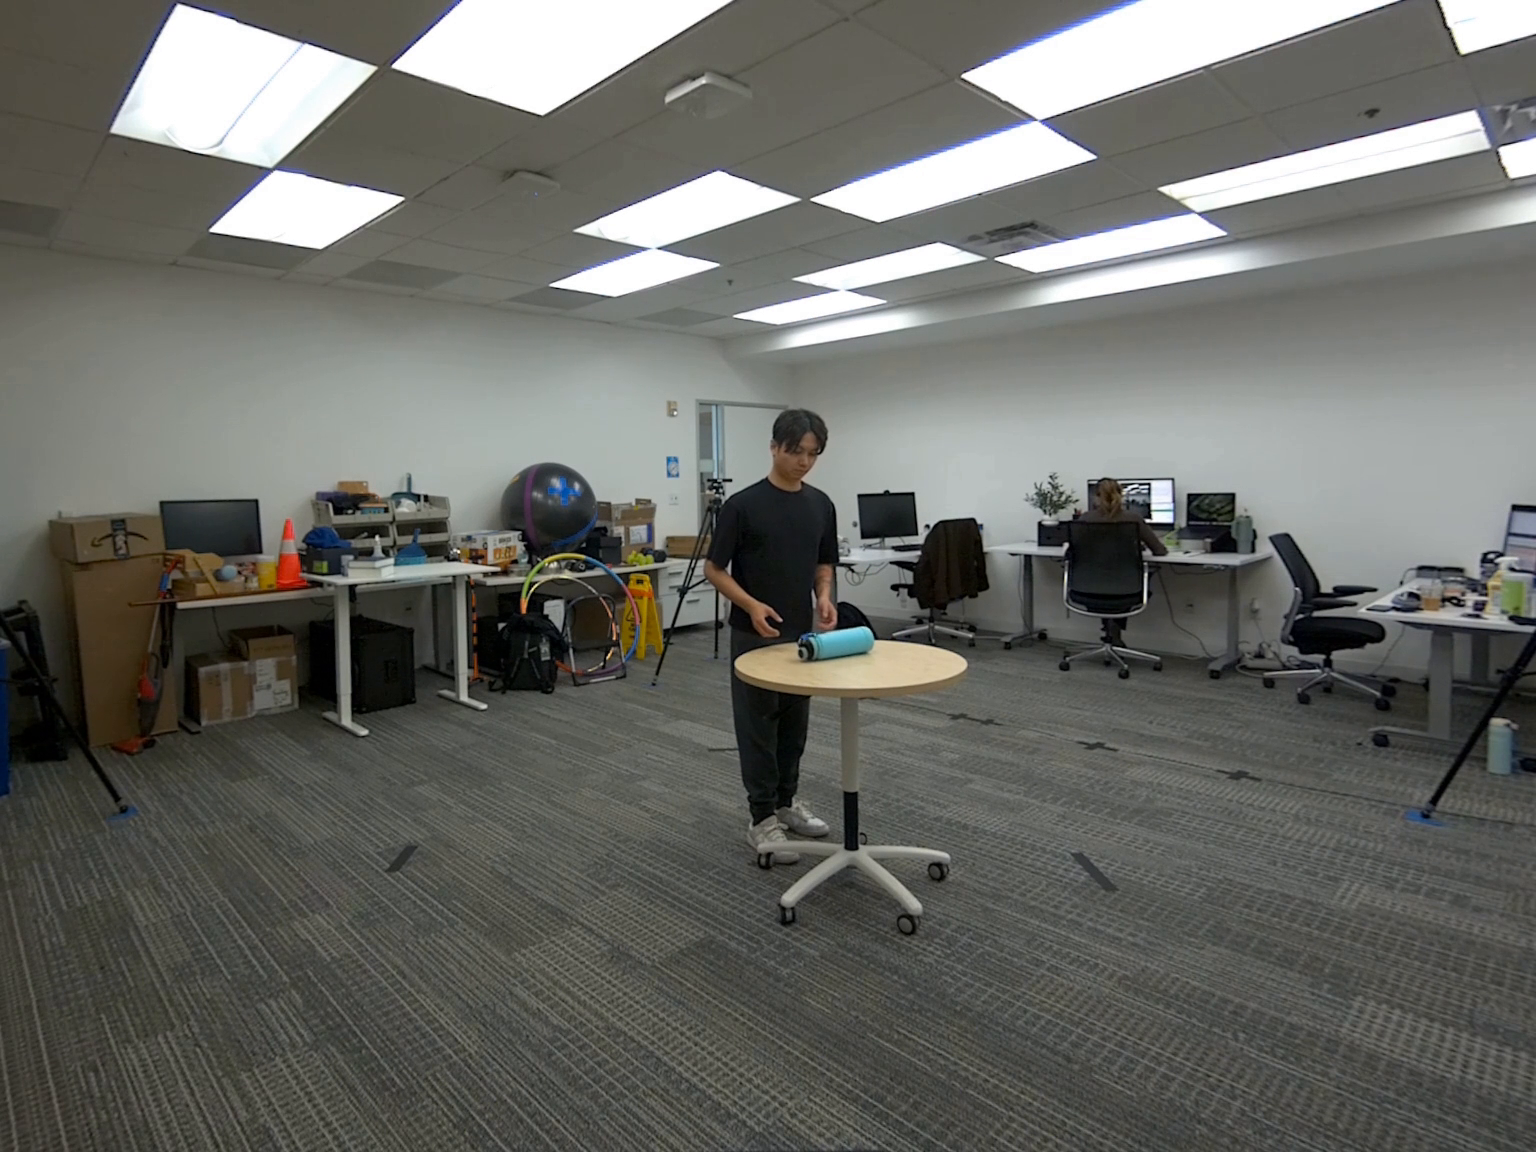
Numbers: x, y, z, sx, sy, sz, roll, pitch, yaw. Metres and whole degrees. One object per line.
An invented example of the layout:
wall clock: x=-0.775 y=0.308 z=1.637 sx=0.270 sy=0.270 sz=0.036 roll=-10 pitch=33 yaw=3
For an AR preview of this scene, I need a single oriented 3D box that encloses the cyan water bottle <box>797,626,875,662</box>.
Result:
cyan water bottle: x=0.221 y=0.235 z=2.926 sx=0.278 sy=0.092 sz=0.095 roll=-8 pitch=7 yaw=-27
